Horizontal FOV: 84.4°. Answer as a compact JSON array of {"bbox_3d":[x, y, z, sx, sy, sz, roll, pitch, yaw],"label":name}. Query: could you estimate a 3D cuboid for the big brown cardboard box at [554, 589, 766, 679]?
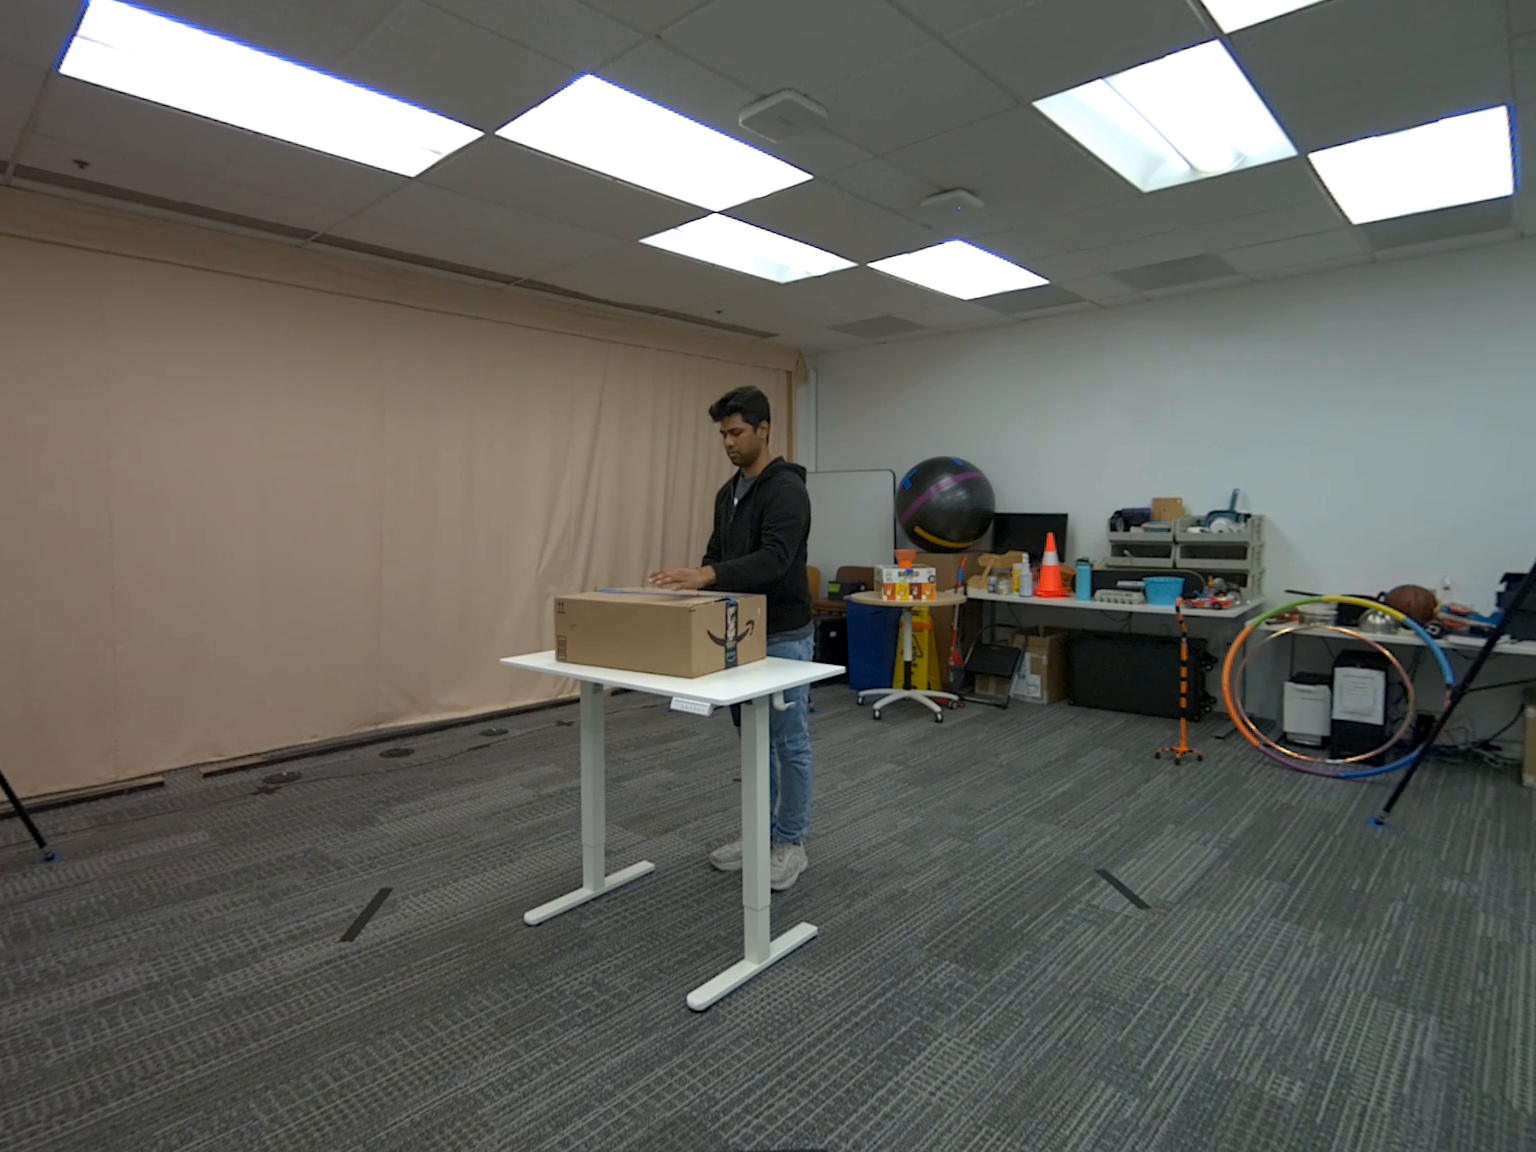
[{"bbox_3d":[-0.349,0.171,2.799,0.607,0.233,0.406,1,4,33],"label":"big brown cardboard box"}]
